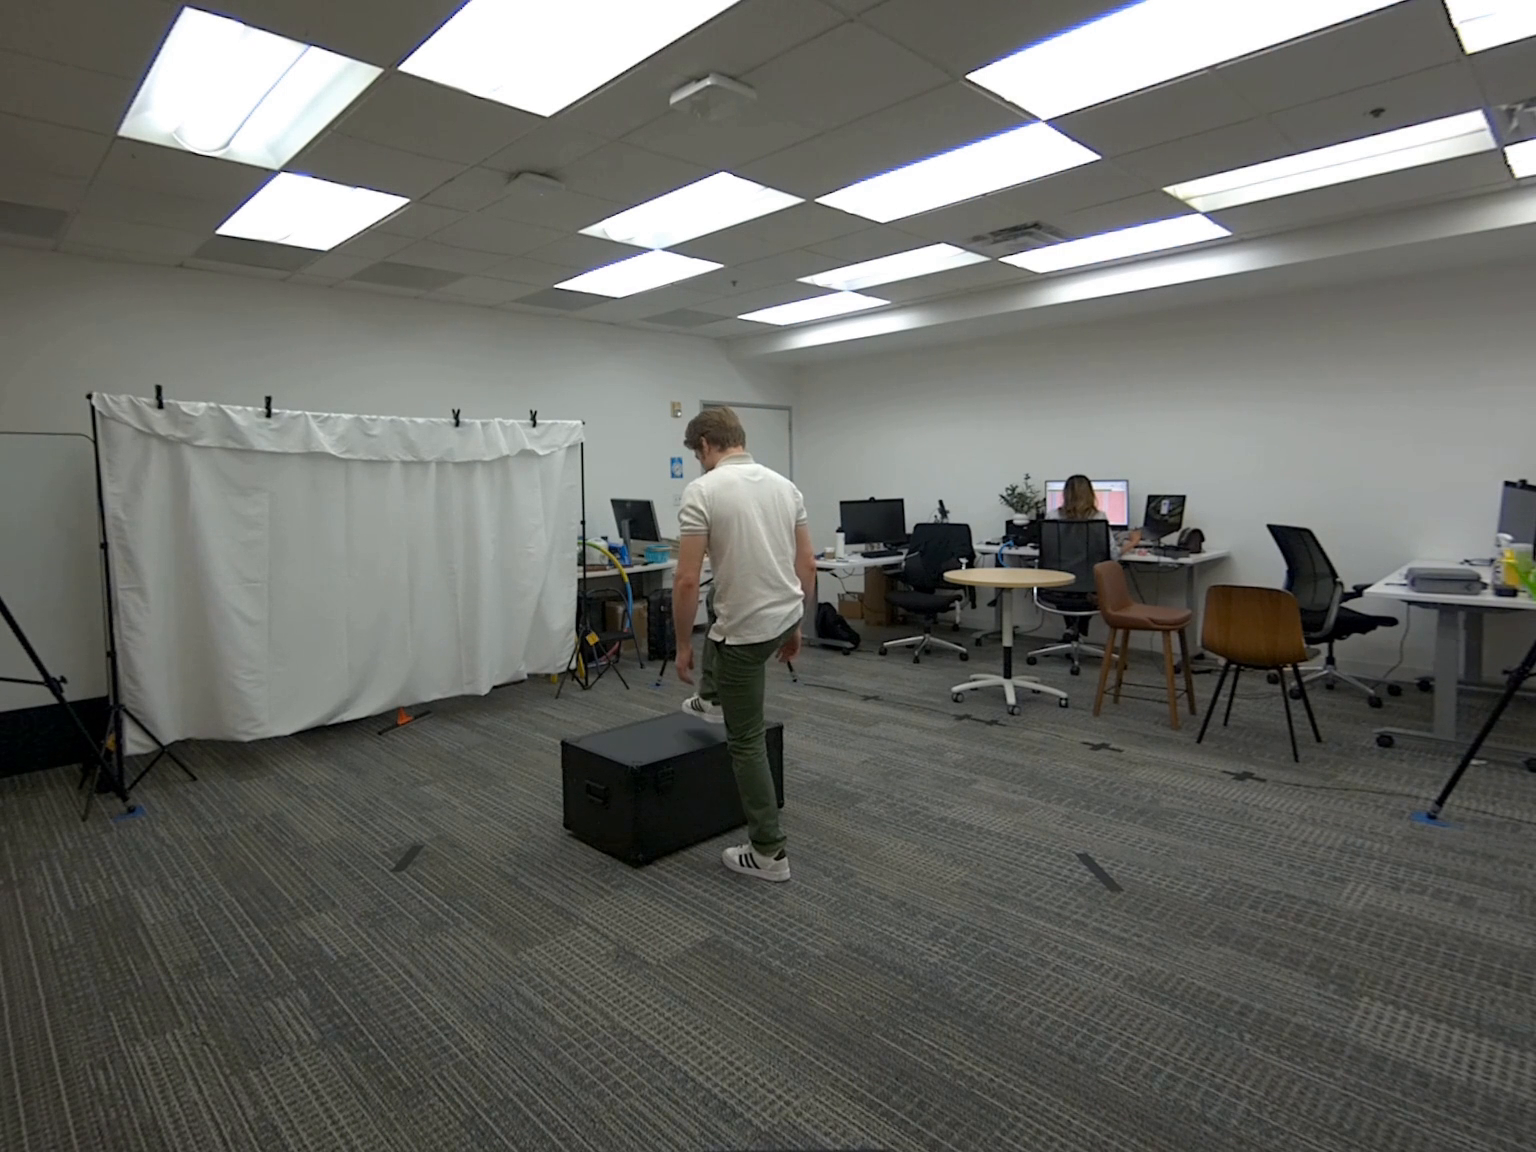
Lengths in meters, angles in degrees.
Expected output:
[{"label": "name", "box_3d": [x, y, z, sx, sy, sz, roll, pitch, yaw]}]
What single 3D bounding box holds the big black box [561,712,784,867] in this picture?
[{"label": "big black box", "box_3d": [-0.345, 0.813, 3.507, 0.845, 0.384, 0.539, -6, 6, -44]}]
